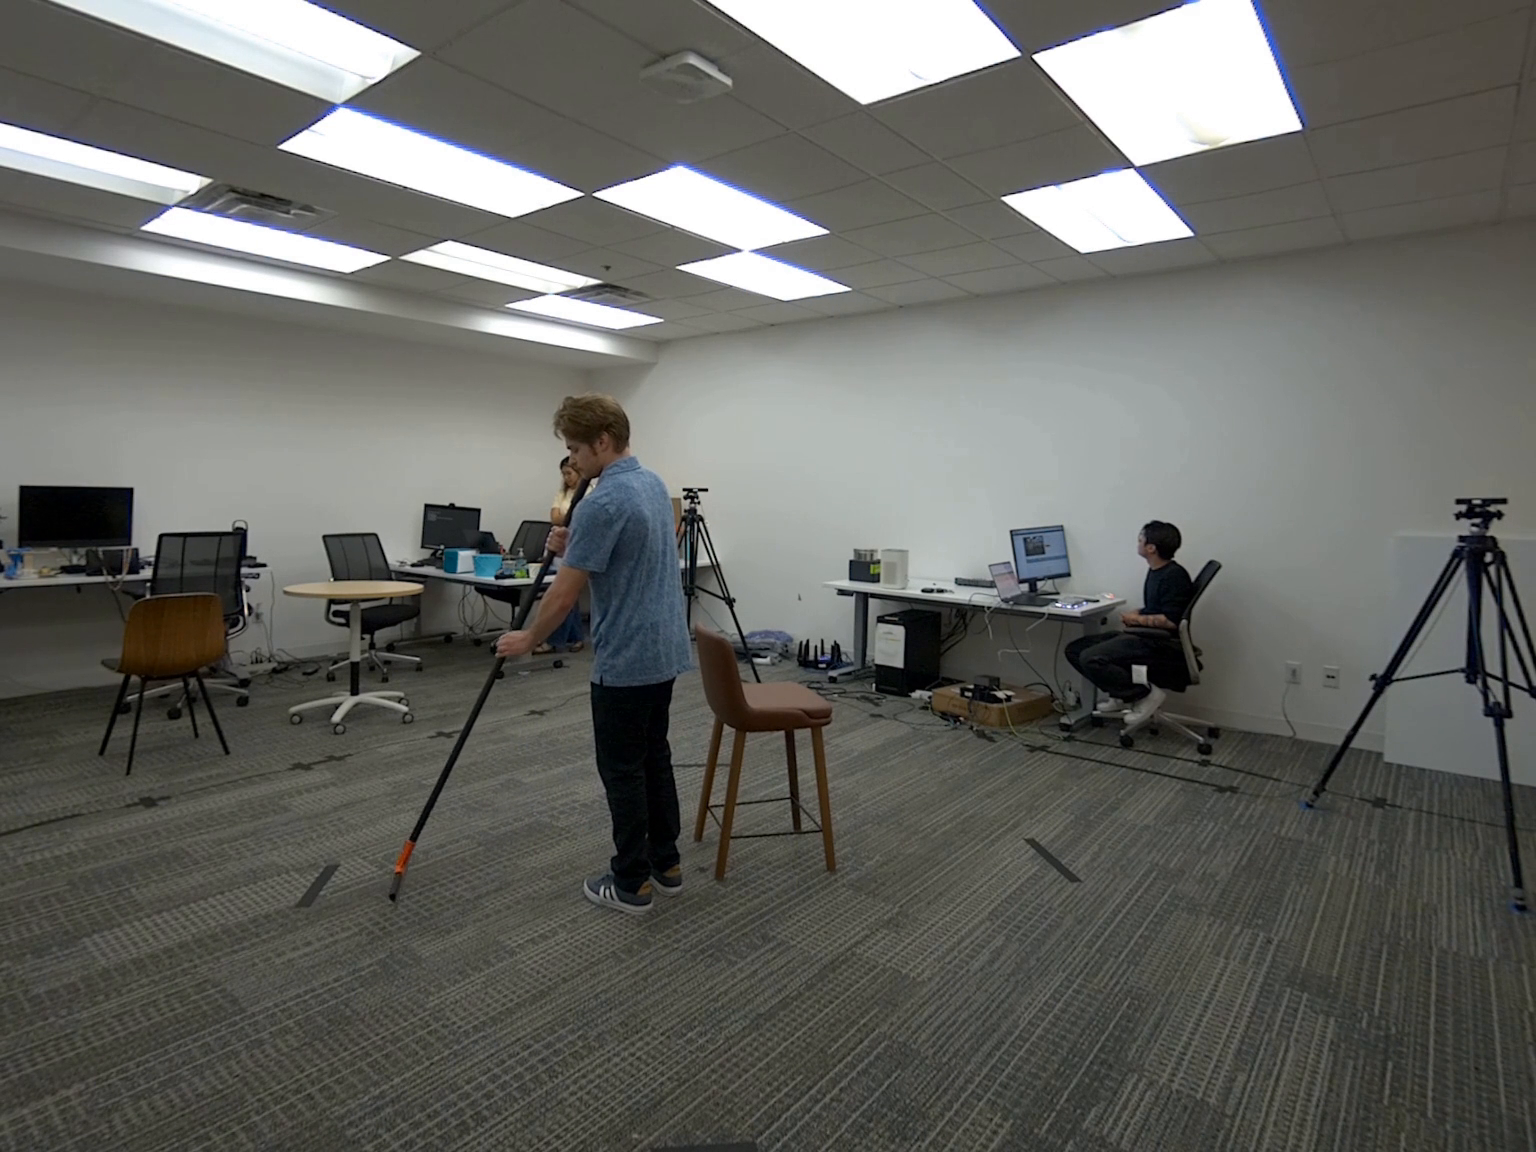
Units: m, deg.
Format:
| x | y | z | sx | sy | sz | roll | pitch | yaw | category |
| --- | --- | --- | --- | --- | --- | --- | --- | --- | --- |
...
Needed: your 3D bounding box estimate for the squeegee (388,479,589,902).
| x | y | z | sx | sy | sz | roll | pitch | yaw | category |
| --- | --- | --- | --- | --- | --- | --- | --- | --- | --- |
| -0.919 | 0.300 | 2.855 | 0.052 | 1.542 | 0.444 | 26 | -7 | -16 | squeegee |
